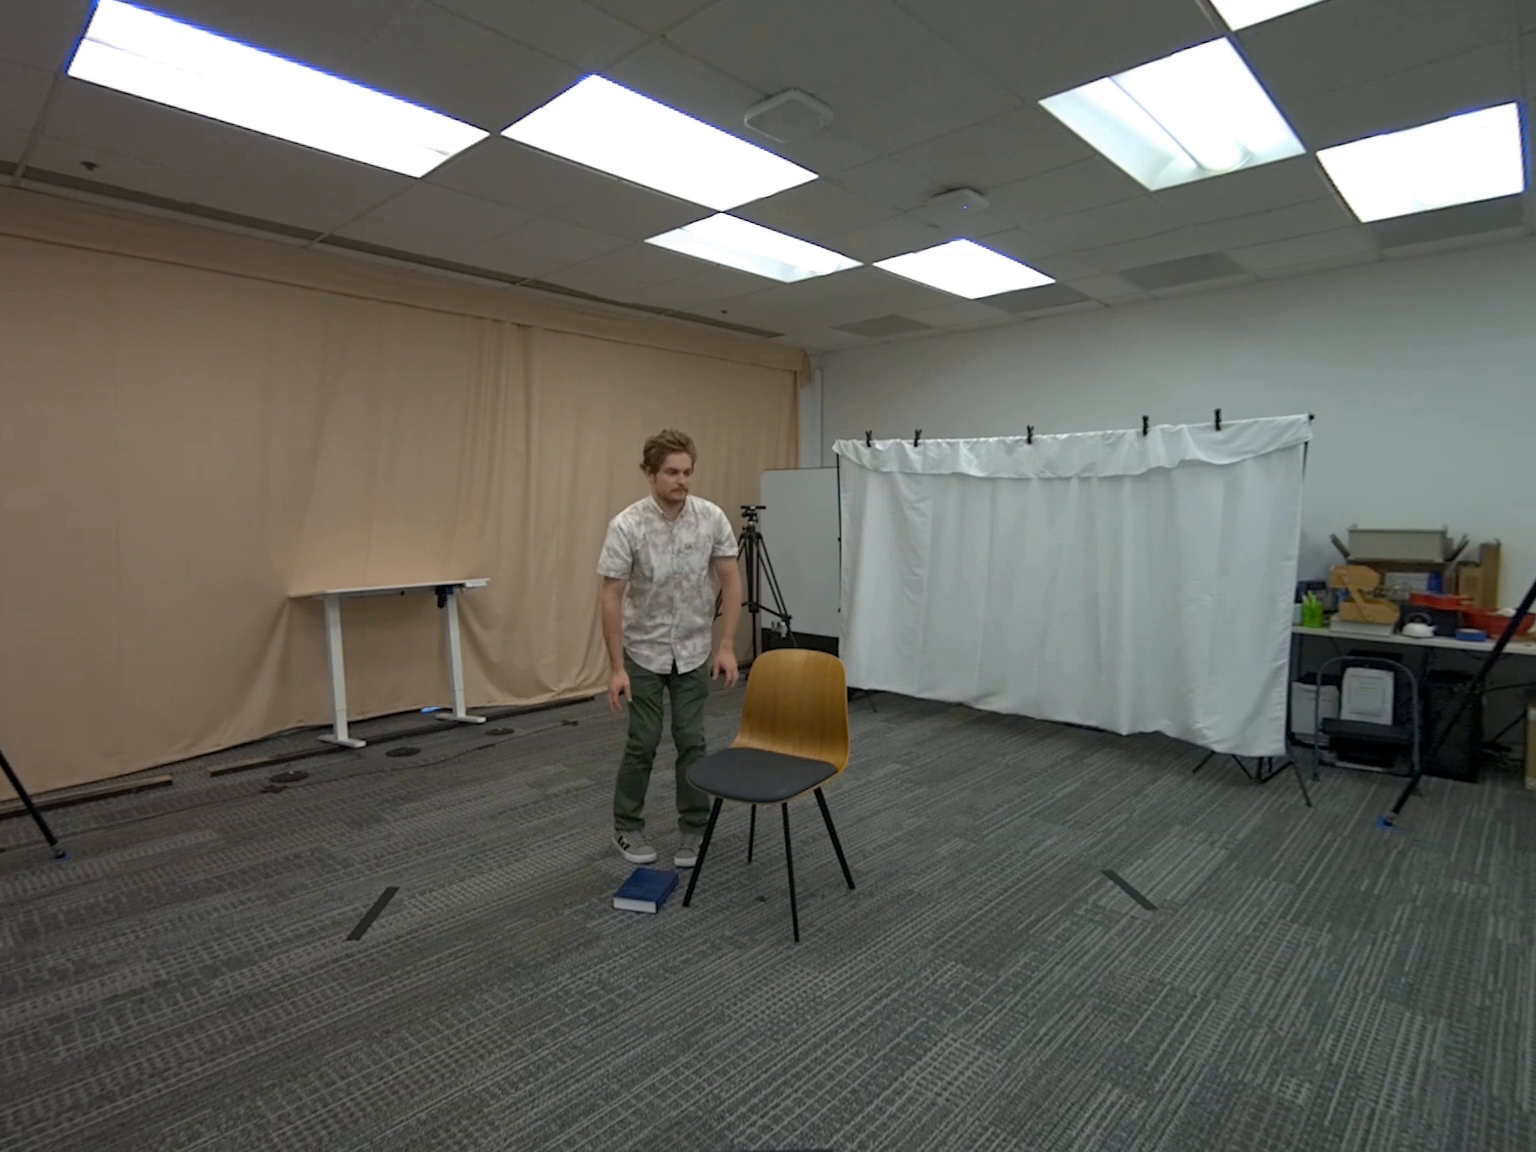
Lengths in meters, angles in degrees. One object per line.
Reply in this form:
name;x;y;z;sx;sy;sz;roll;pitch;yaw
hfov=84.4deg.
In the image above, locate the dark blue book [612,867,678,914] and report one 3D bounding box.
dark blue book;-0.435;1.116;3.010;0.166;0.045;0.242;0;5;14
